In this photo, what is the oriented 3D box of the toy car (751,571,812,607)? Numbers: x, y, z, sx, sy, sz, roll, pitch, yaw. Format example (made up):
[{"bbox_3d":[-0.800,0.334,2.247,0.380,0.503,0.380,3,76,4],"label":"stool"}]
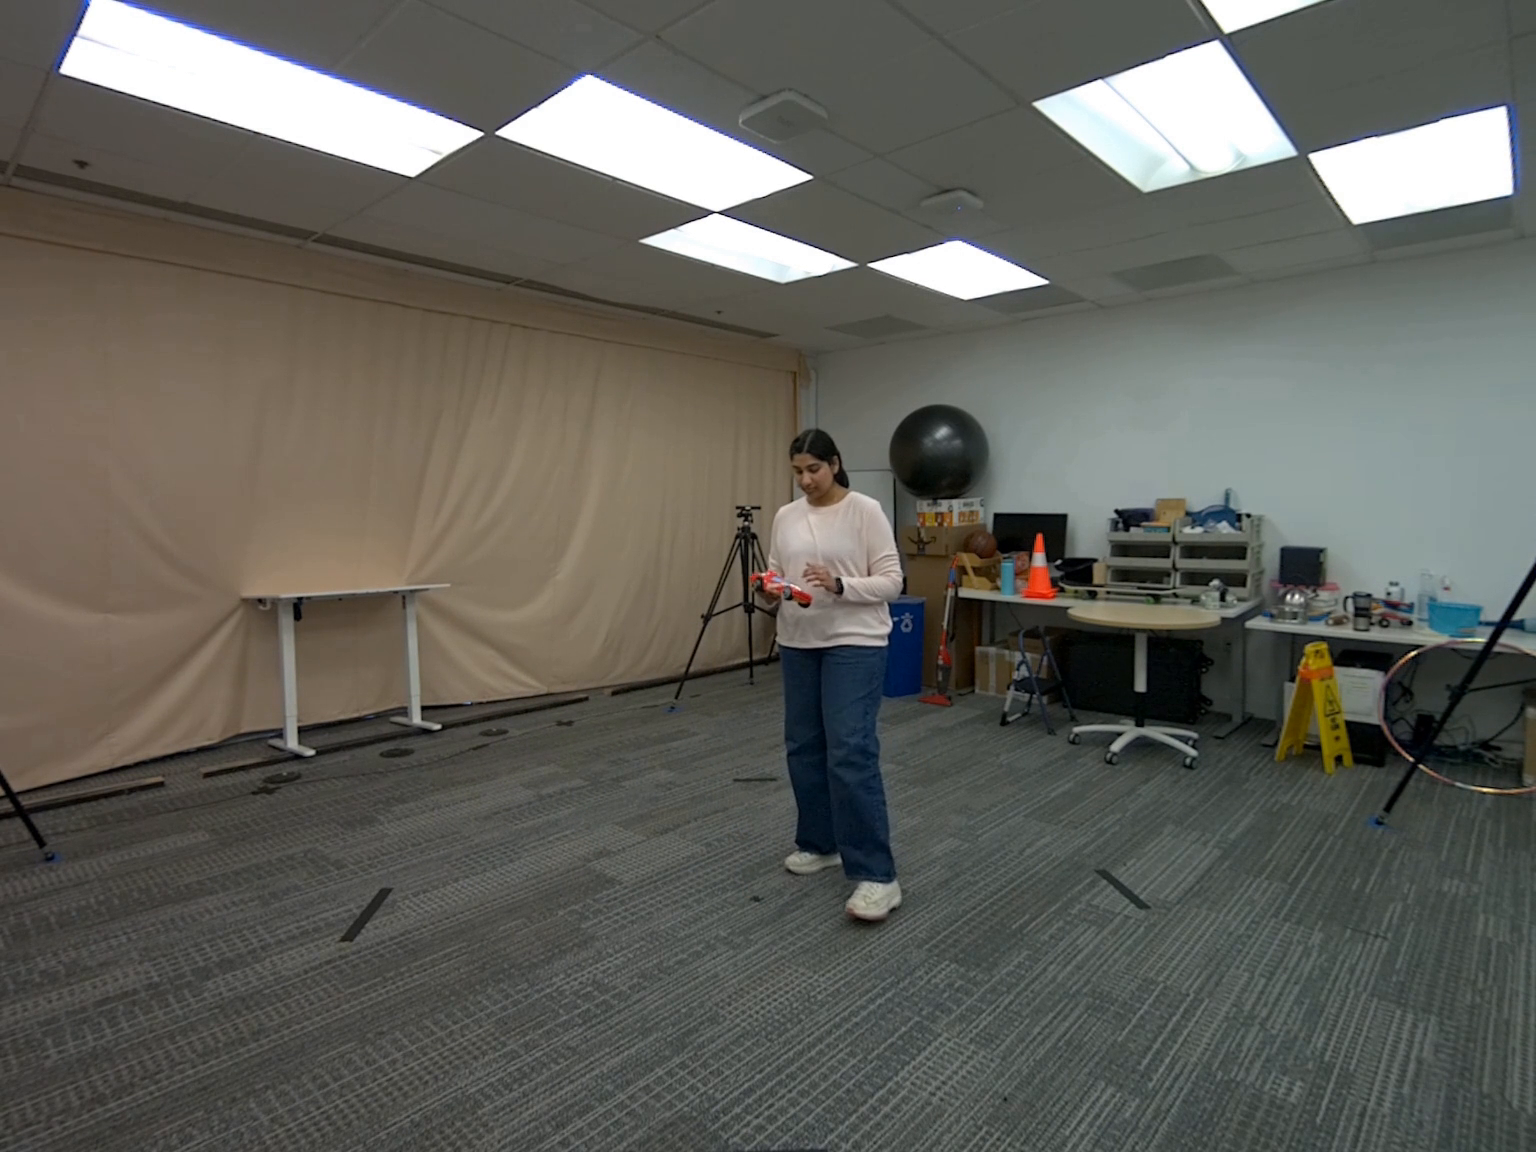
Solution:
[{"bbox_3d":[0.043,0.048,2.903,0.126,0.083,0.264,24,6,-39],"label":"toy car"}]
